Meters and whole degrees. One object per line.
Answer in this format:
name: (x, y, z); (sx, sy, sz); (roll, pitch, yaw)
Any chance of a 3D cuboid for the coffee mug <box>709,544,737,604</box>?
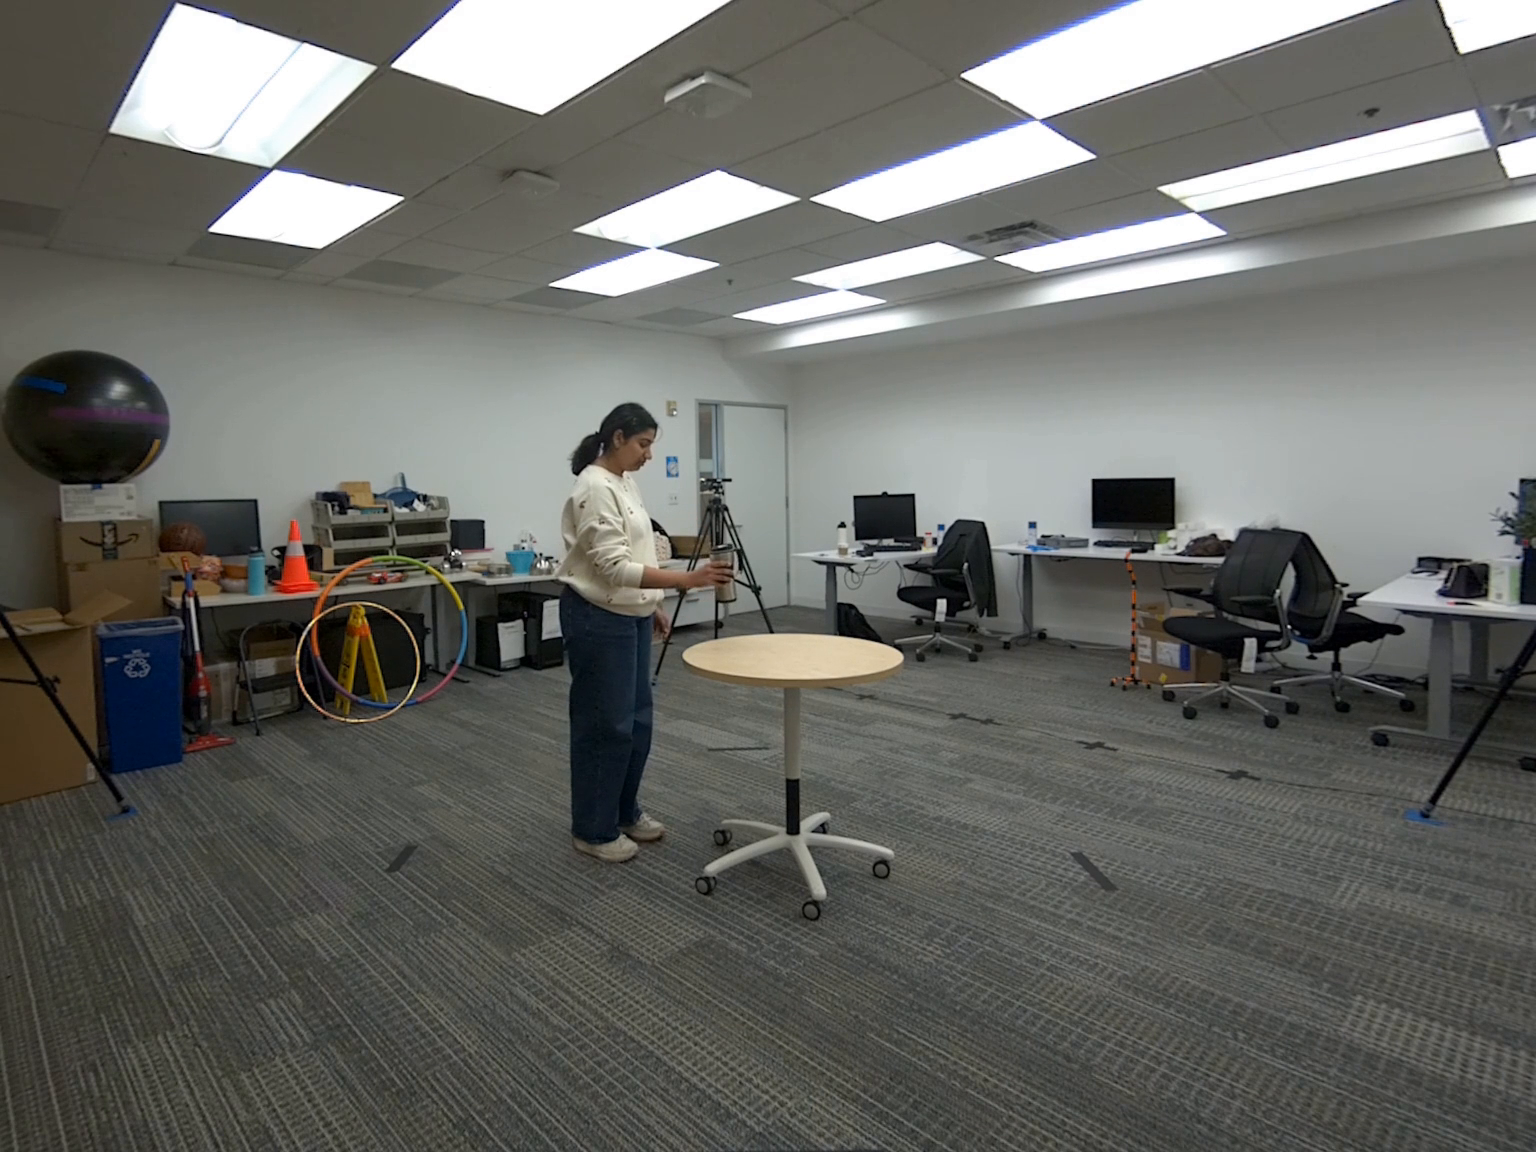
coffee mug: (-0.136, -0.010, 3.046); (0.120, 0.202, 0.090); (-8, 4, -24)
